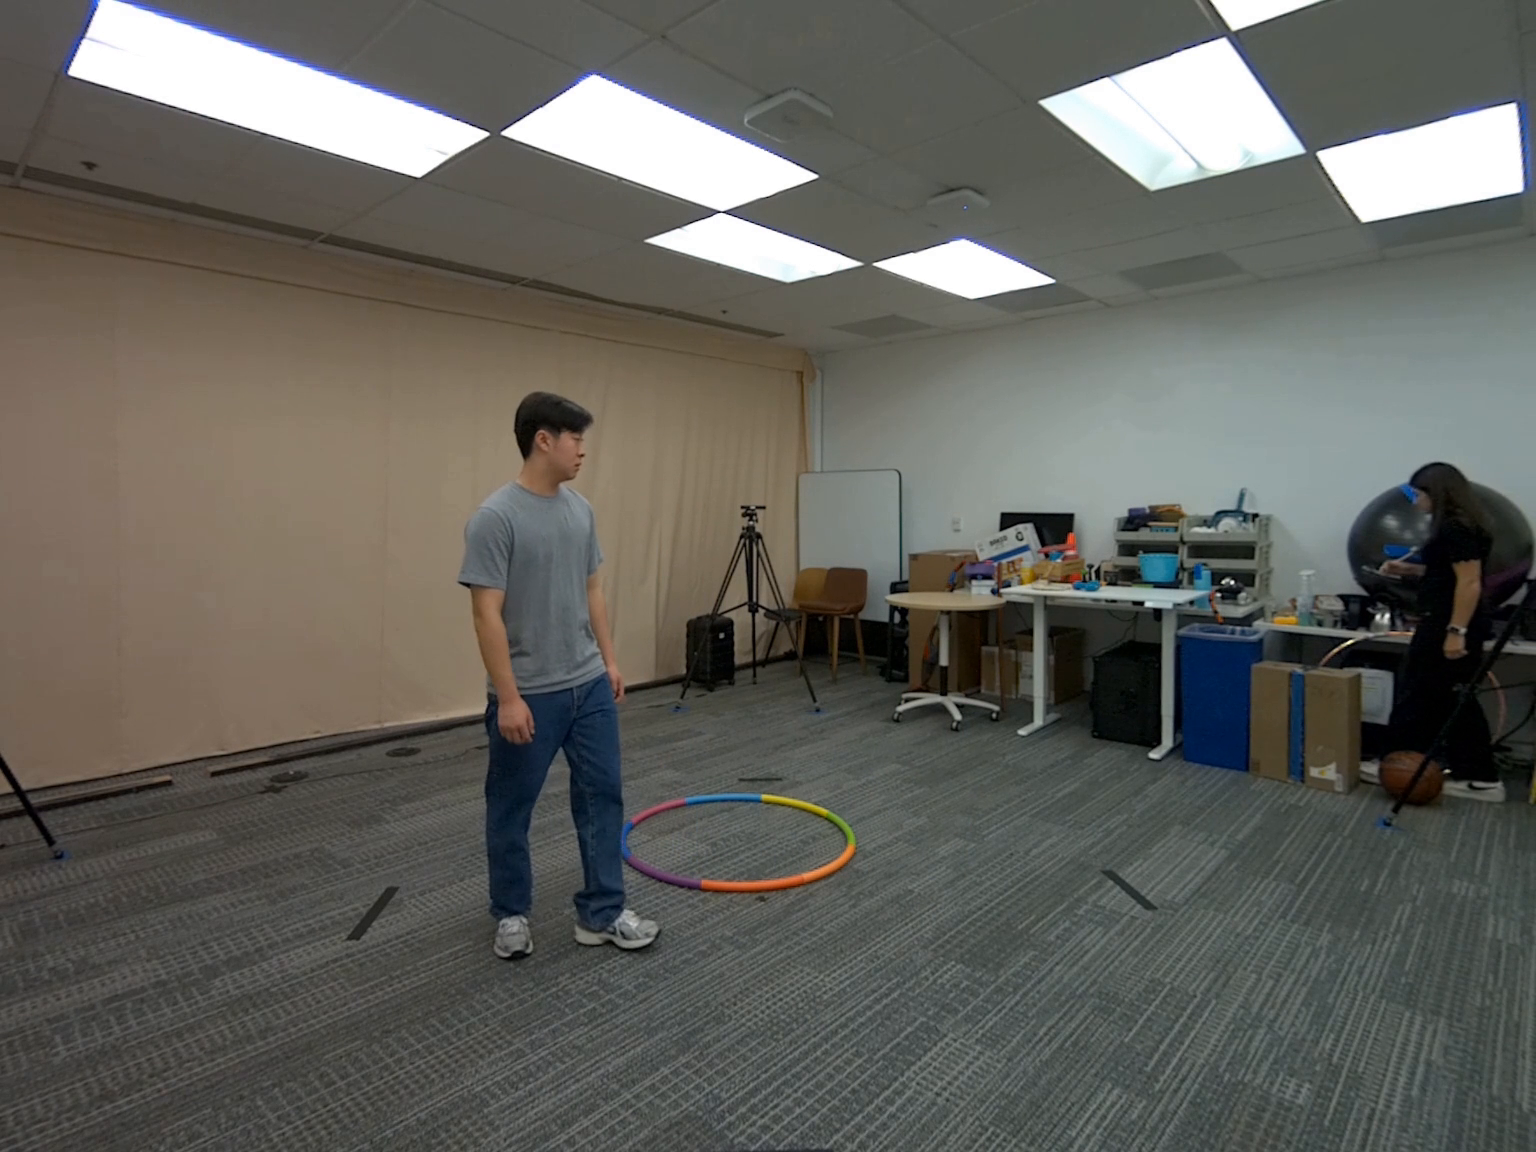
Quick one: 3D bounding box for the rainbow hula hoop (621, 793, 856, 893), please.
[{"bbox_3d":[-0.131,1.069,3.507,0.978,0.035,0.982,-1,5,-2],"label":"rainbow hula hoop"}]
